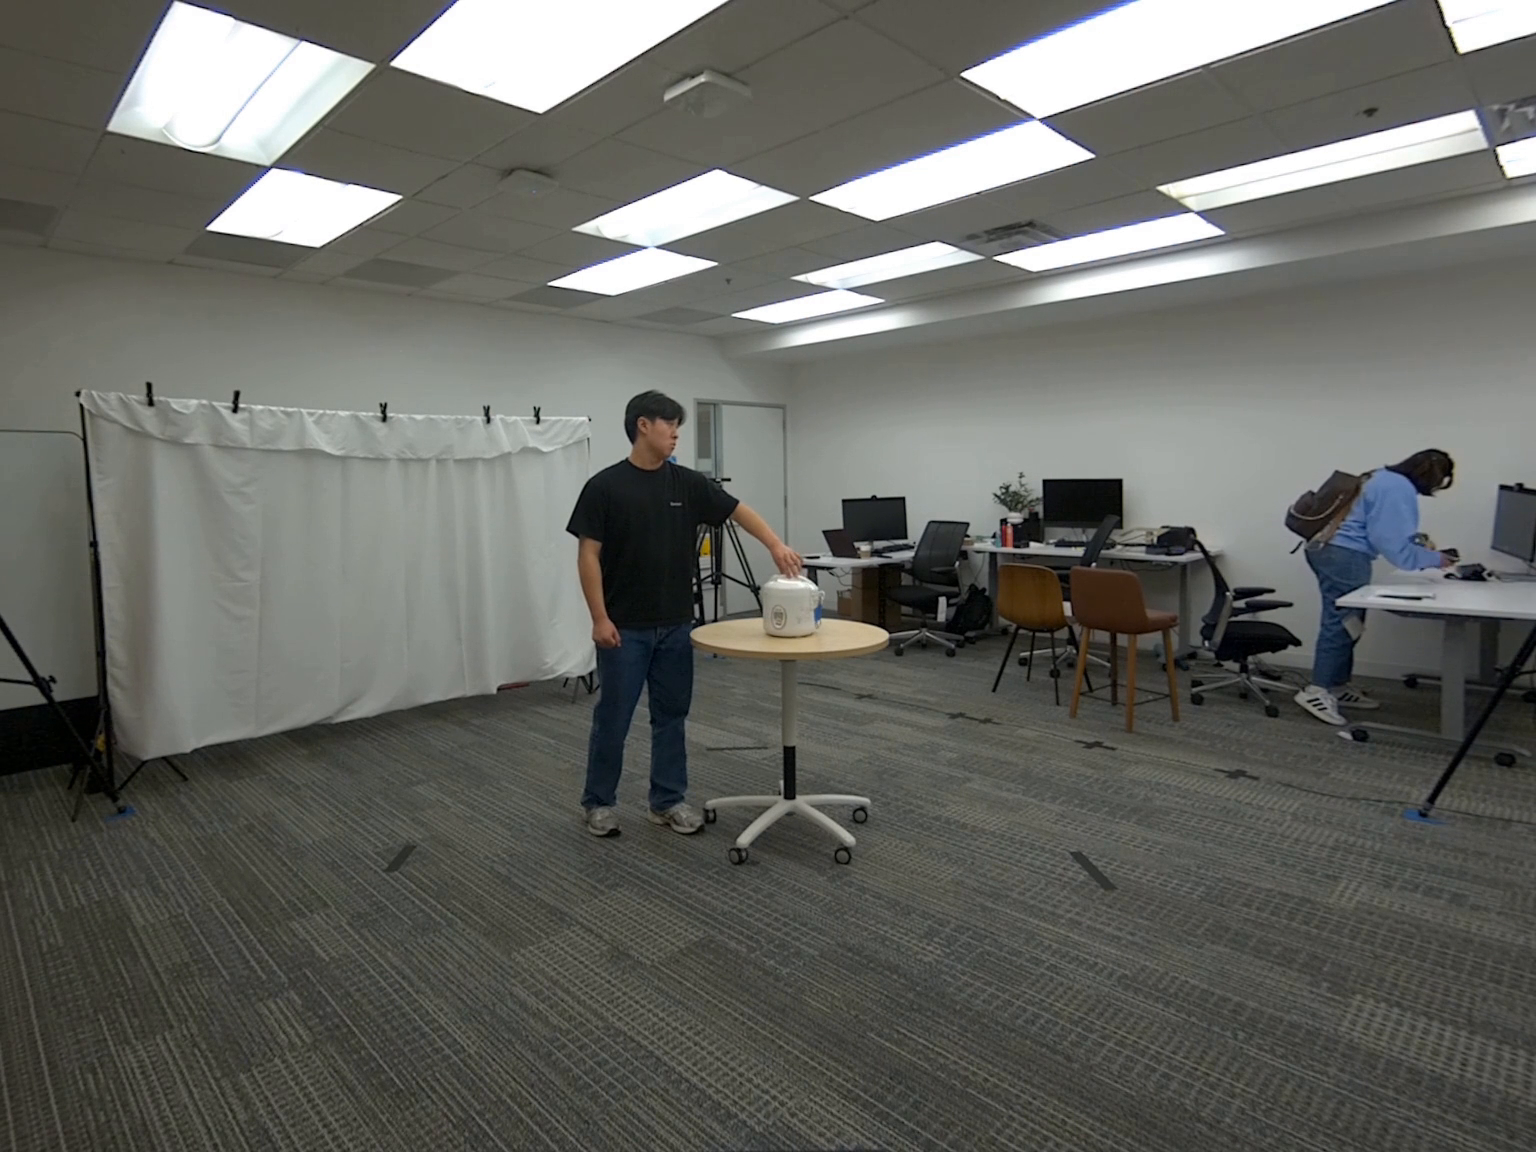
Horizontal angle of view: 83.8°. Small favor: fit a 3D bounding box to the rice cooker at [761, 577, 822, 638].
[{"bbox_3d":[0.086,0.107,3.278,0.226,0.232,0.213,2,4,27],"label":"rice cooker"}]
